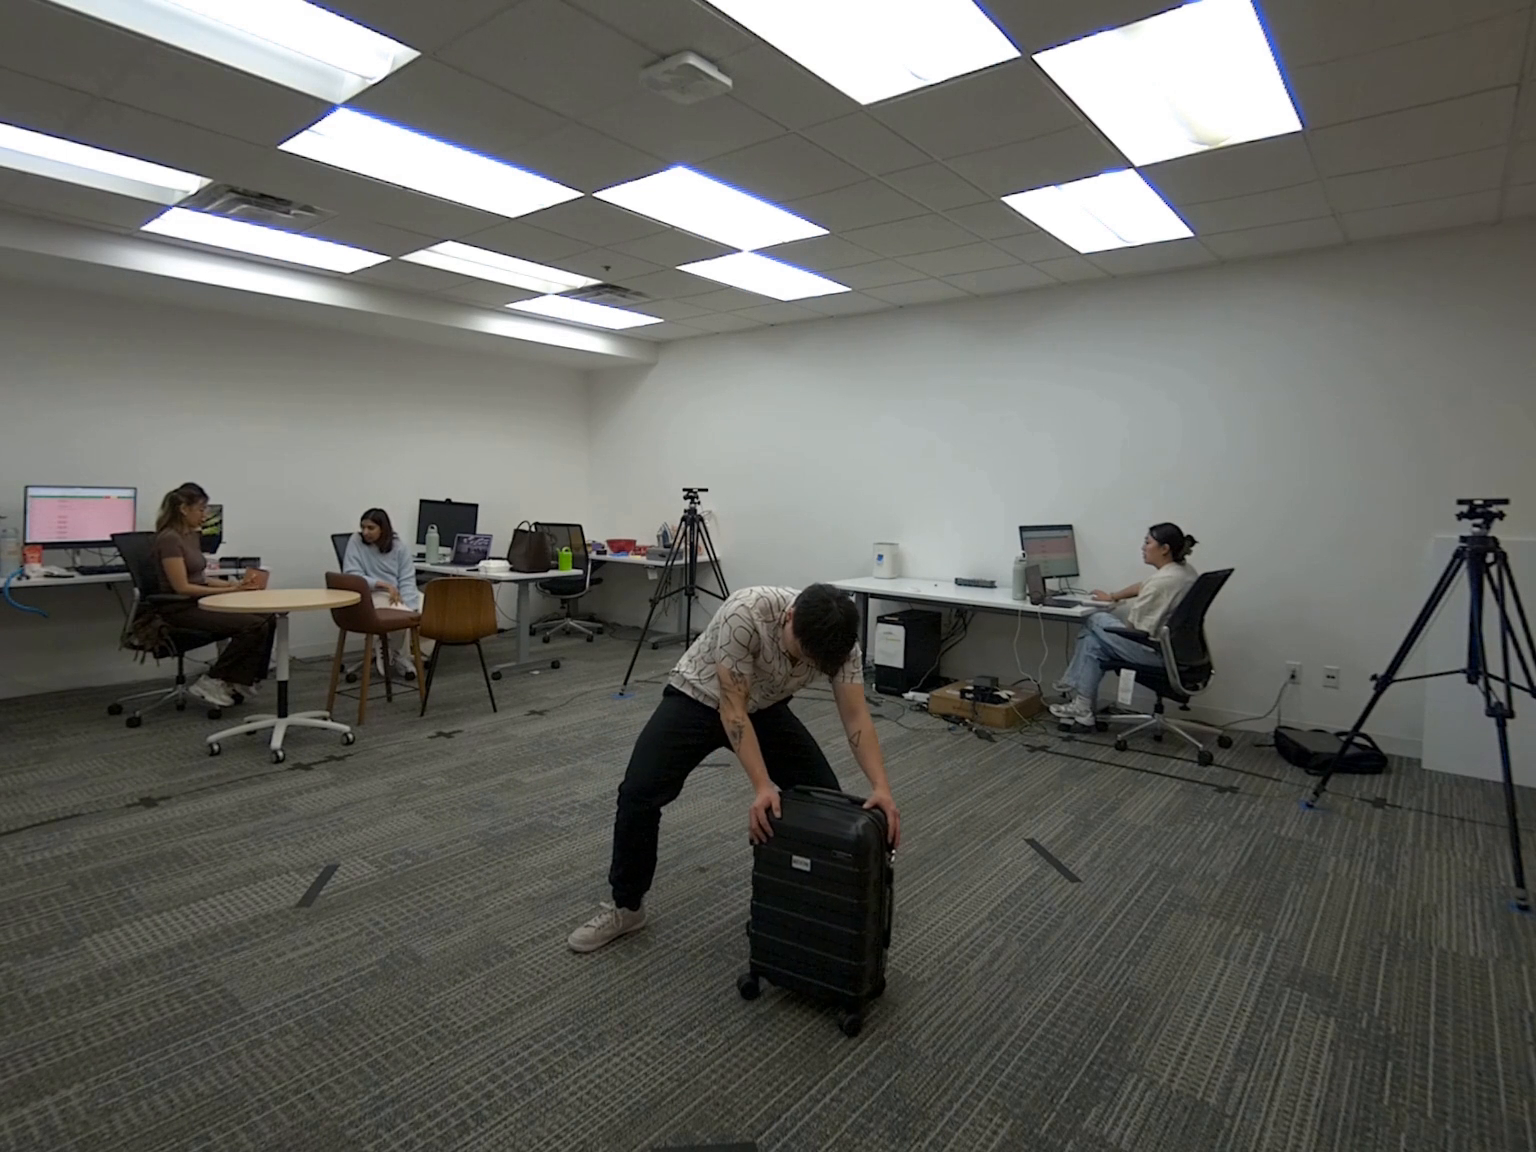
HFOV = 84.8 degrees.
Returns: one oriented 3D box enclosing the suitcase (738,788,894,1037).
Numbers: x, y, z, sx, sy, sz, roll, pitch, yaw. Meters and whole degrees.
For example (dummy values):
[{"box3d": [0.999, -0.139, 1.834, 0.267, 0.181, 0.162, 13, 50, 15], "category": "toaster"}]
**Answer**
[{"box3d": [0.141, 0.879, 2.342, 0.386, 0.548, 0.242, 4, 3, 28], "category": "suitcase"}]
